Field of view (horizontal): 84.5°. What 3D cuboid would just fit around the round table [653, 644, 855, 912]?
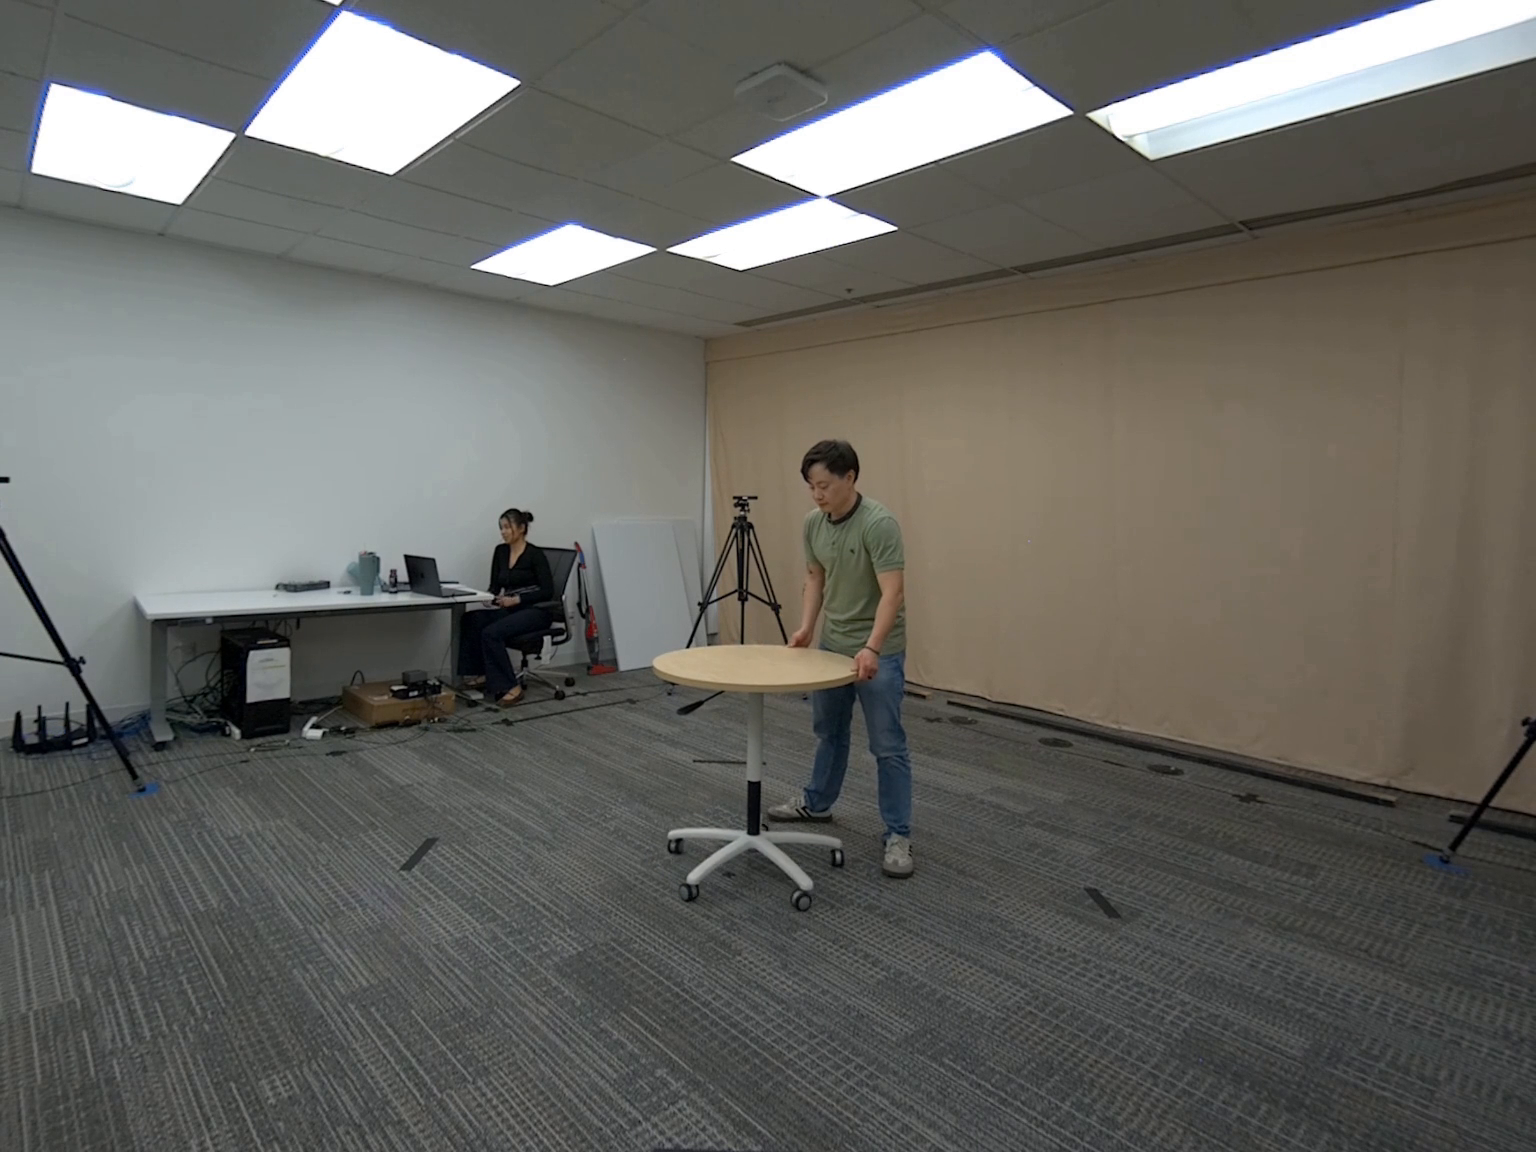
[{"bbox_3d":[-0.060,0.715,3.123,0.763,0.792,0.766,1,4,-1],"label":"round table"}]
